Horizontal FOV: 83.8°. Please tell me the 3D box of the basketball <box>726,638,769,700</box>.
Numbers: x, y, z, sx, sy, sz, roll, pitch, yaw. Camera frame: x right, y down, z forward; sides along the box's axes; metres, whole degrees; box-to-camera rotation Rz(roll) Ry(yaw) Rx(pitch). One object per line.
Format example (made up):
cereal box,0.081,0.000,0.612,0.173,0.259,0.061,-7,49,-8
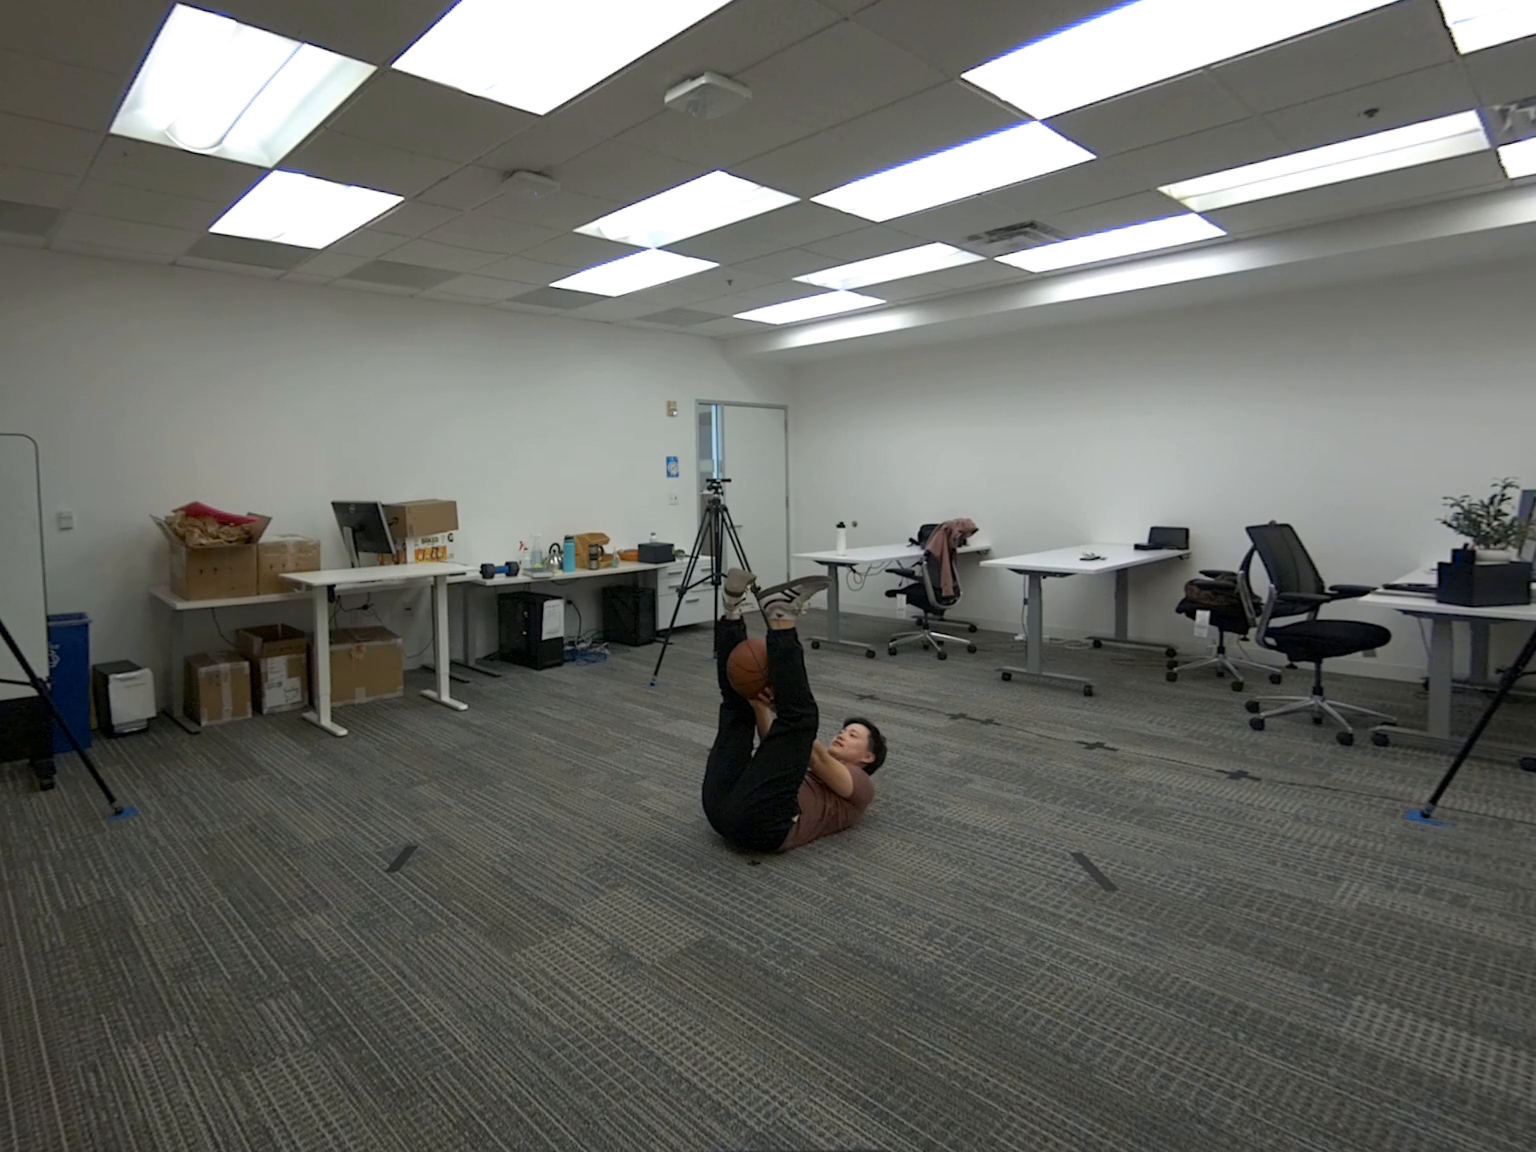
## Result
basketball,-0.036,0.355,3.250,0.236,0.235,0.237,-2,5,-2
